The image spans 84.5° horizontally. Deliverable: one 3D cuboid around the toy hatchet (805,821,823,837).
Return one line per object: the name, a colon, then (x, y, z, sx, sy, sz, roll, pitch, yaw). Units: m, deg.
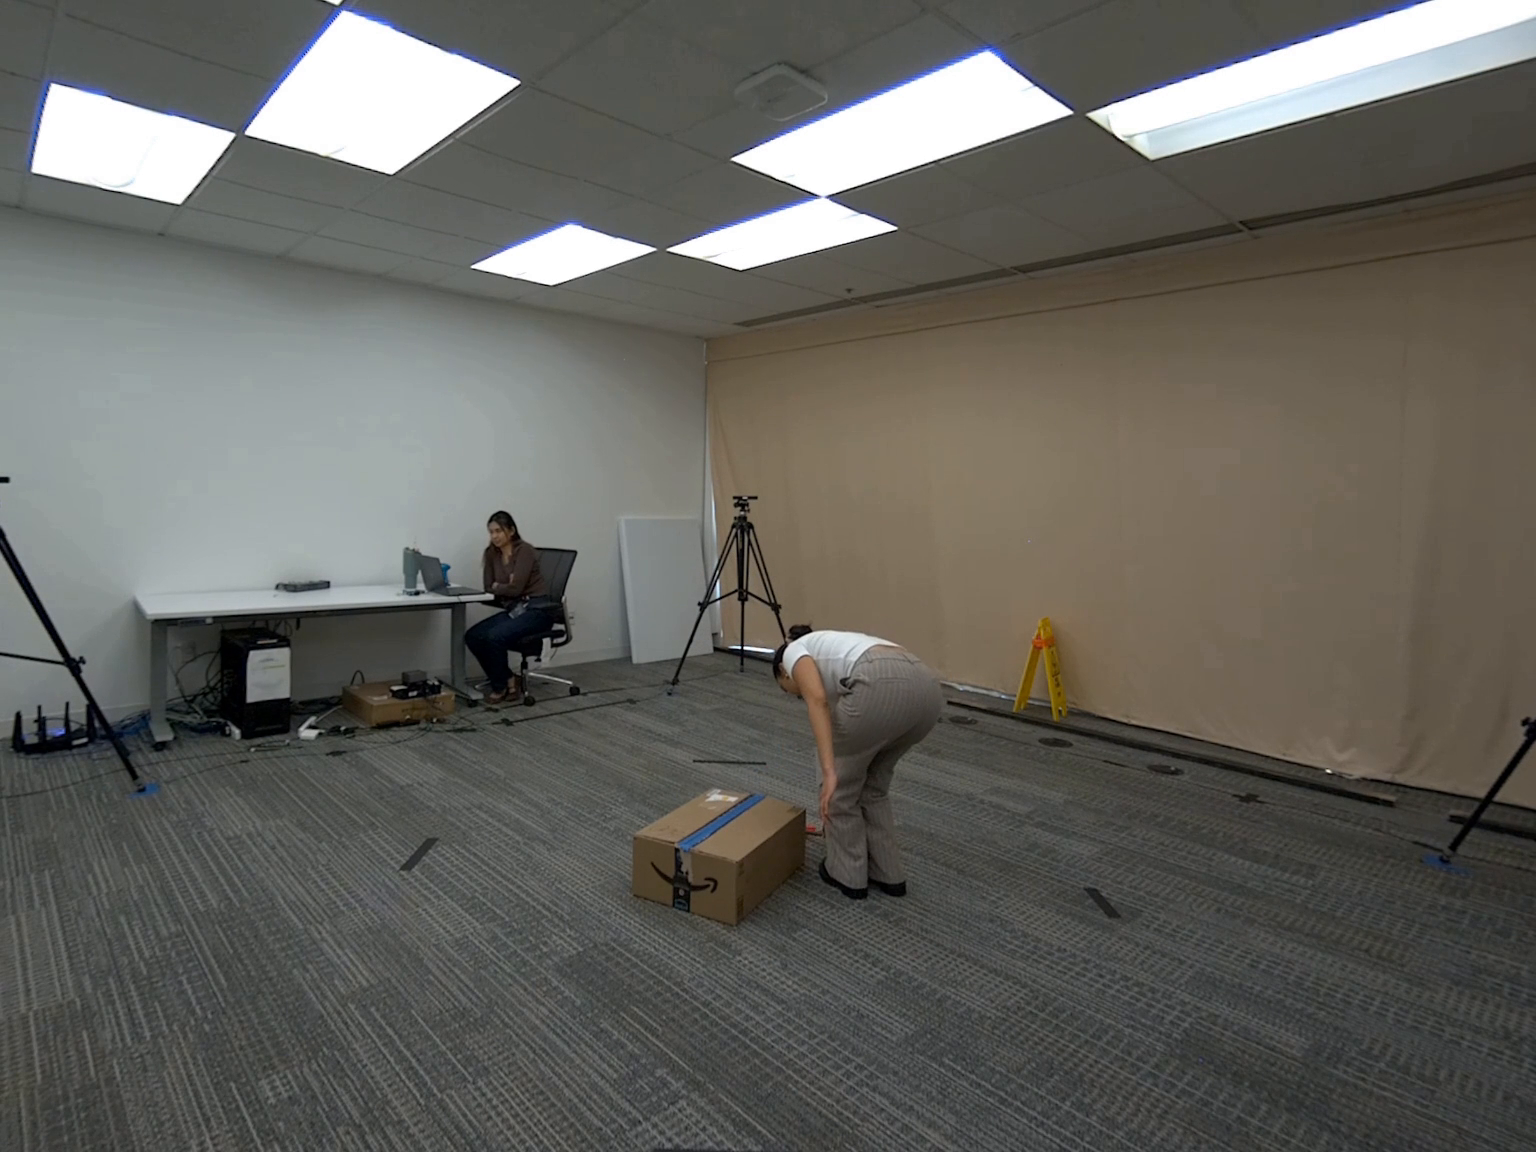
toy hatchet: (0.208, 1.052, 3.445, 0.276, 0.030, 0.128, -5, -4, 38)
